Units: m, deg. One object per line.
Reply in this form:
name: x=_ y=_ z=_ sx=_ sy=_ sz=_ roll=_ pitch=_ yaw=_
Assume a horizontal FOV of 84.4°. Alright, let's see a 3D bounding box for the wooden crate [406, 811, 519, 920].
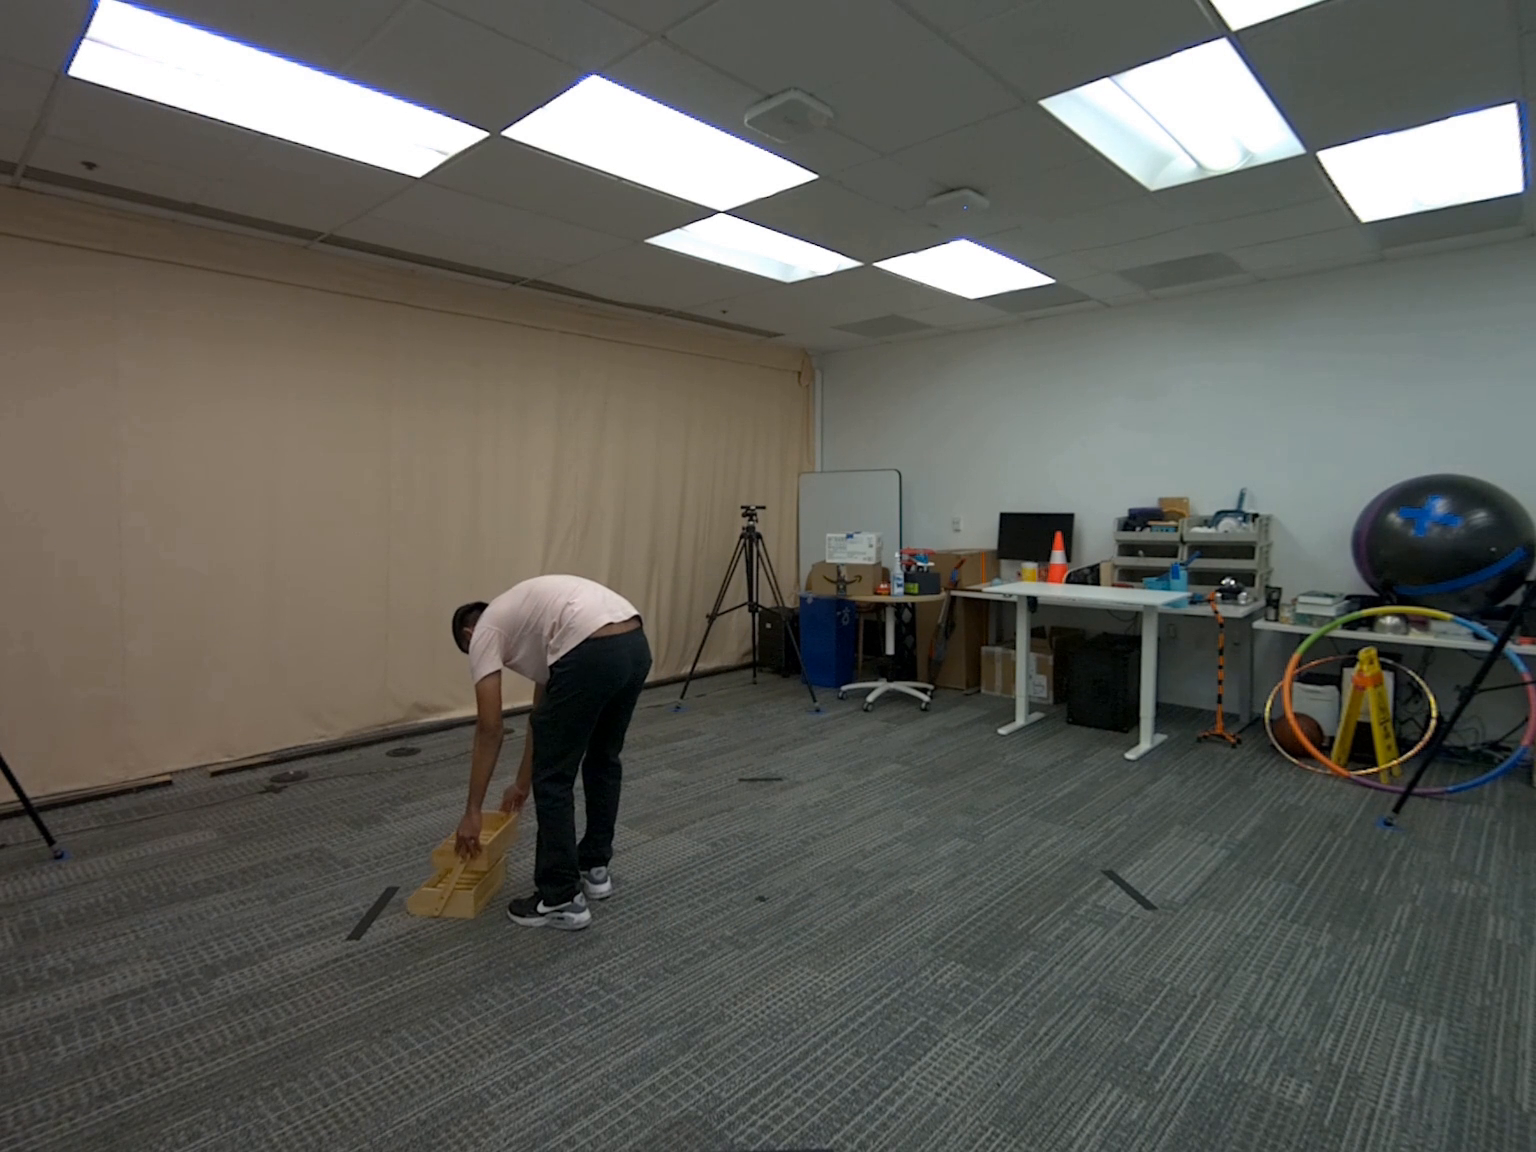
wooden crate: x=-1.085 y=1.020 z=3.013 sx=0.304 sy=0.273 sz=0.323 roll=0 pitch=3 yaw=5
